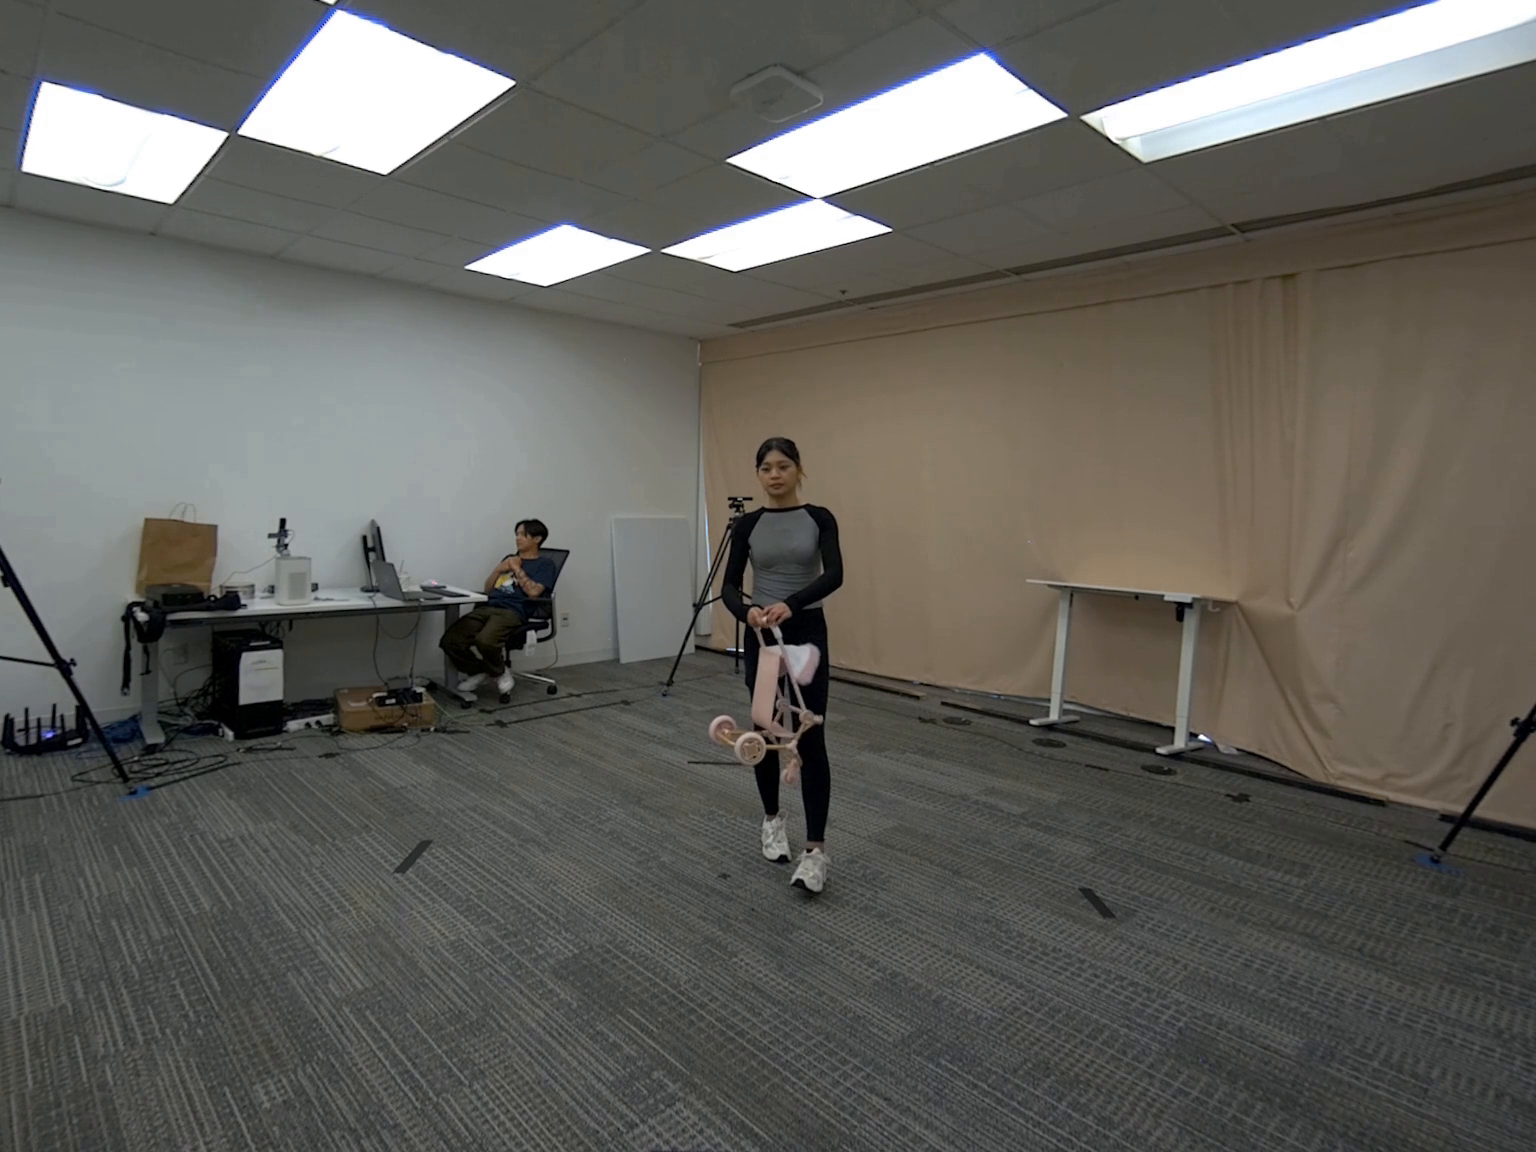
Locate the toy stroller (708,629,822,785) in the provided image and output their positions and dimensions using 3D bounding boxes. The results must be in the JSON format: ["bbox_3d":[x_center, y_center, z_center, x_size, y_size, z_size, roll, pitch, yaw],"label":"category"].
[{"bbox_3d":[0.028,0.447,2.930,0.335,0.536,0.285,19,-7,-18],"label":"toy stroller"}]
